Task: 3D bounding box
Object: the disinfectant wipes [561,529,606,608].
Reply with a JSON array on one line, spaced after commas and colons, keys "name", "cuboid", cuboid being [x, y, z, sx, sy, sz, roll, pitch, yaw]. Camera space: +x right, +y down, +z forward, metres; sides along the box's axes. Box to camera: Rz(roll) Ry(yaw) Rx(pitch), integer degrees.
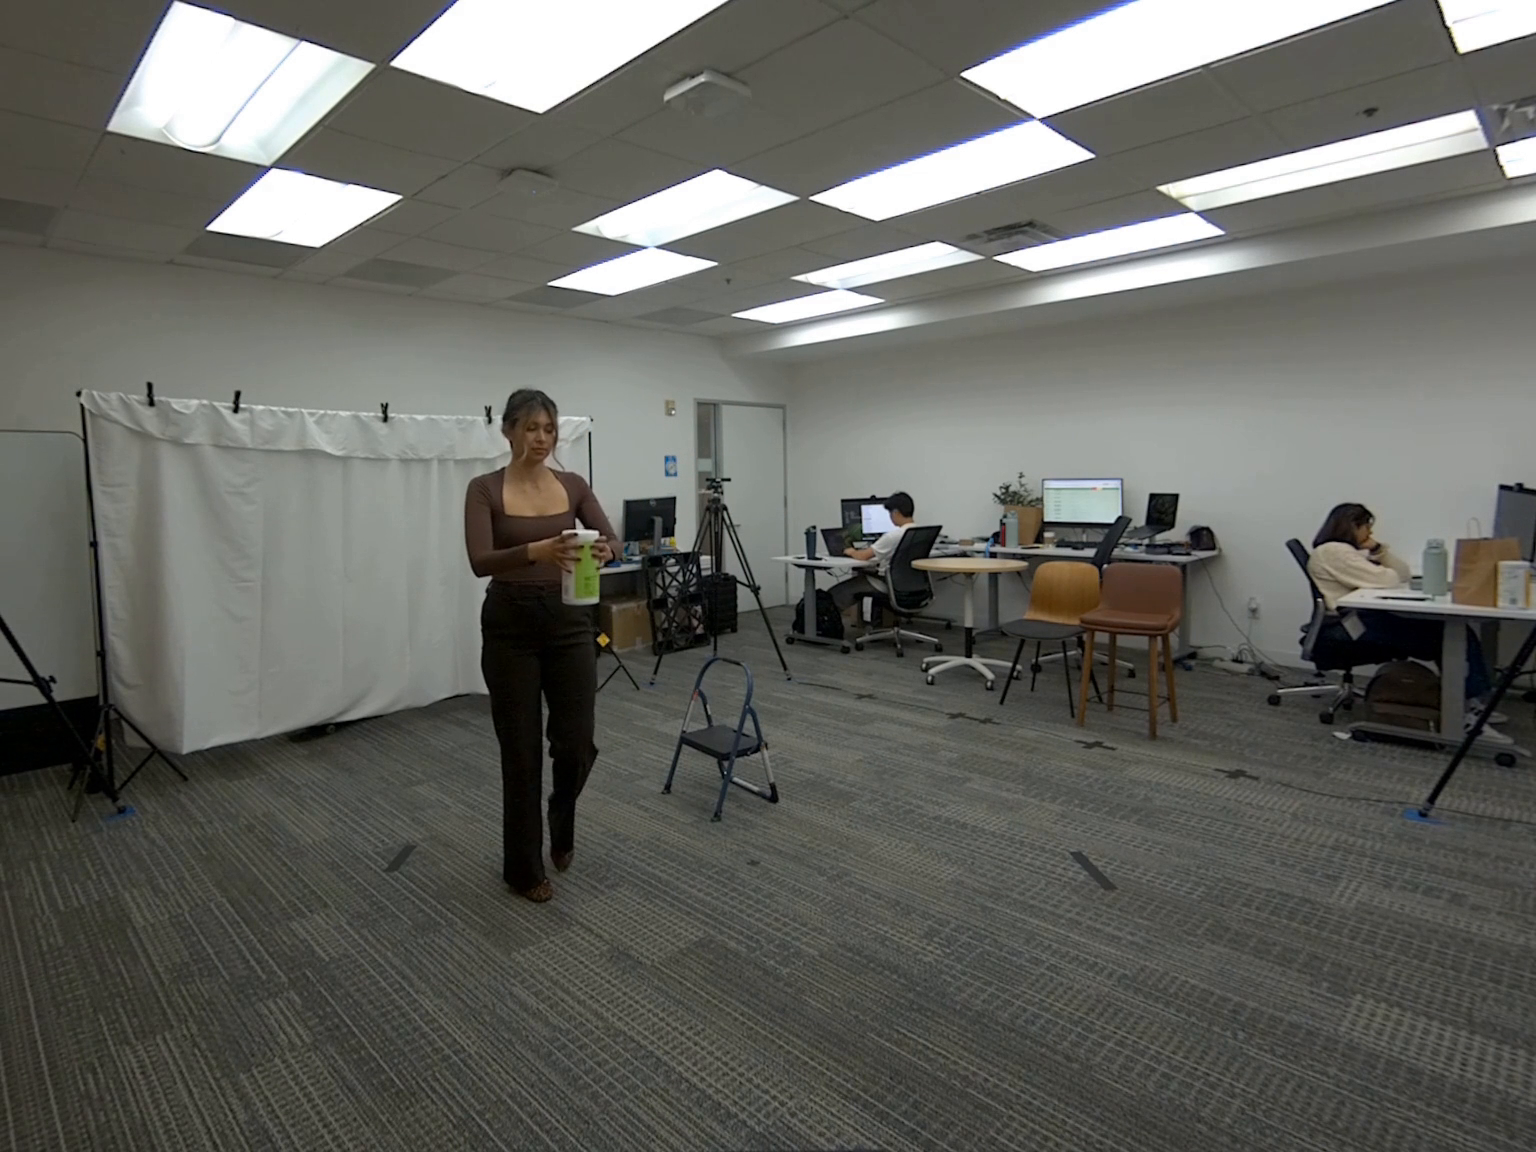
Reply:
[{"name": "disinfectant wipes", "cuboid": [-0.549, -0.026, 2.524, 0.118, 0.217, 0.118, 1, 2, -2]}]
